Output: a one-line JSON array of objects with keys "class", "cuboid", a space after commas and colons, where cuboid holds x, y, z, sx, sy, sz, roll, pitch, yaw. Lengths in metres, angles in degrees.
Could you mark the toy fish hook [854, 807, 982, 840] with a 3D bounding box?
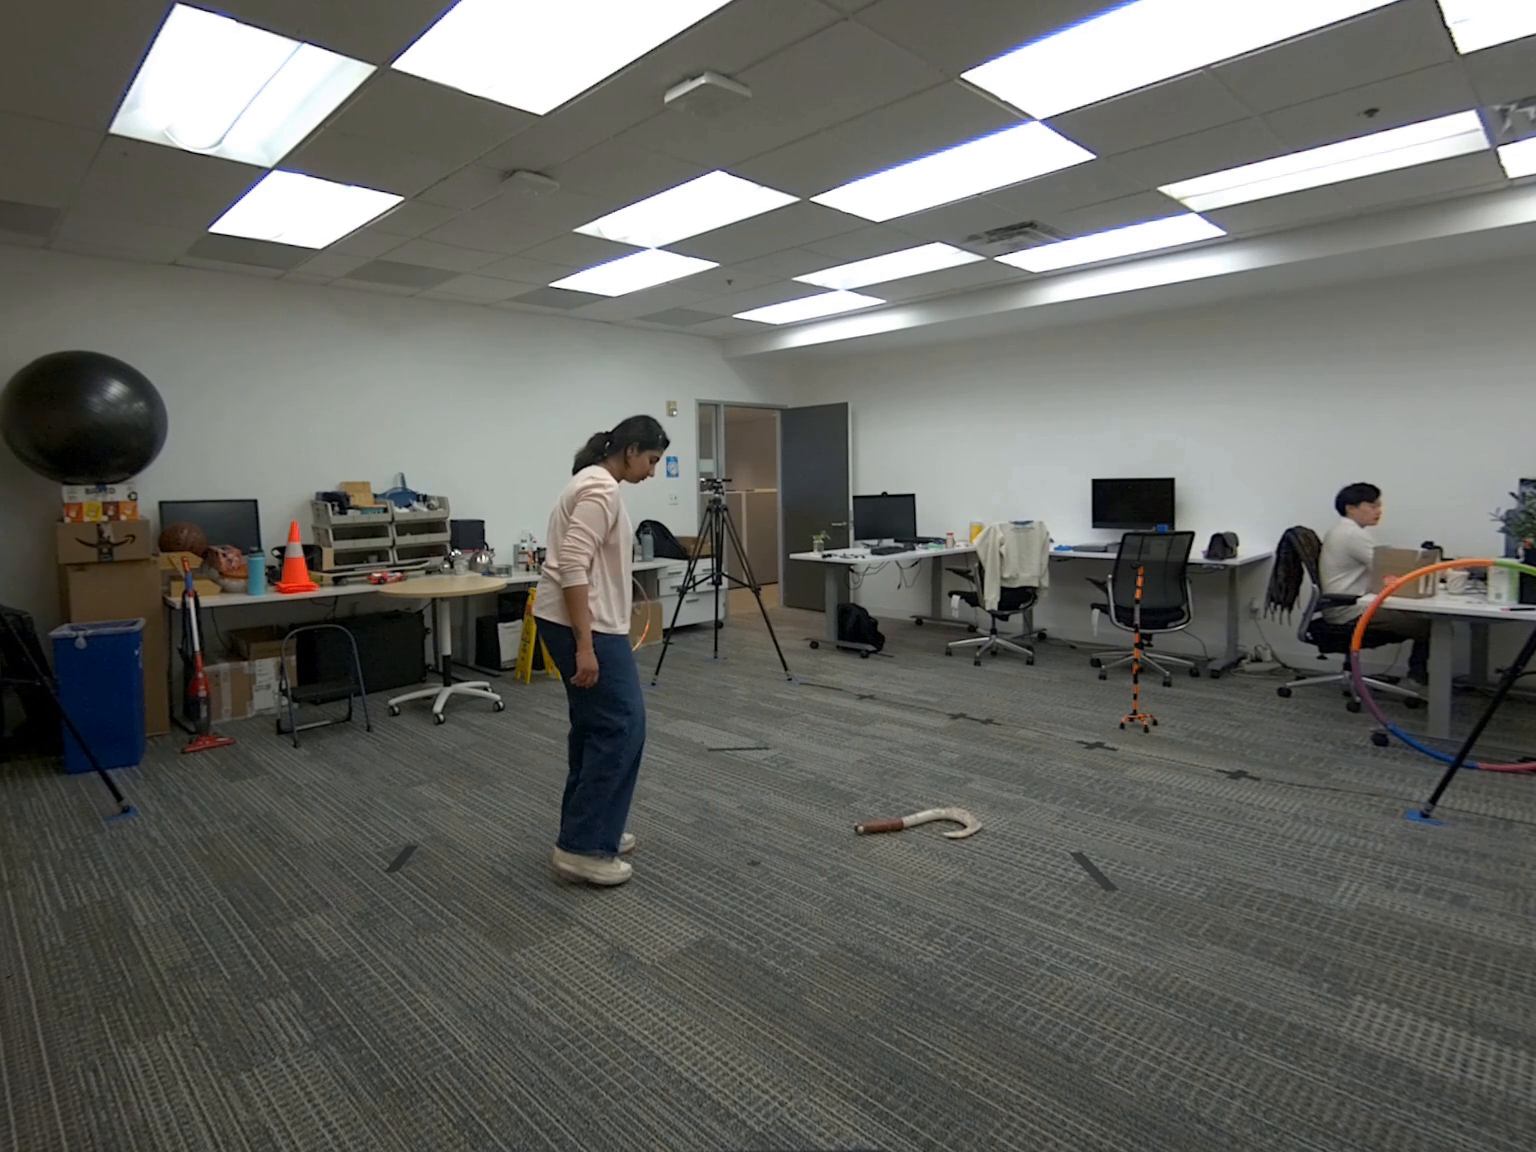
[{"class": "toy fish hook", "cuboid": [0.590, 0.981, 3.355, 0.499, 0.048, 0.229, -3, 6, -17]}]
